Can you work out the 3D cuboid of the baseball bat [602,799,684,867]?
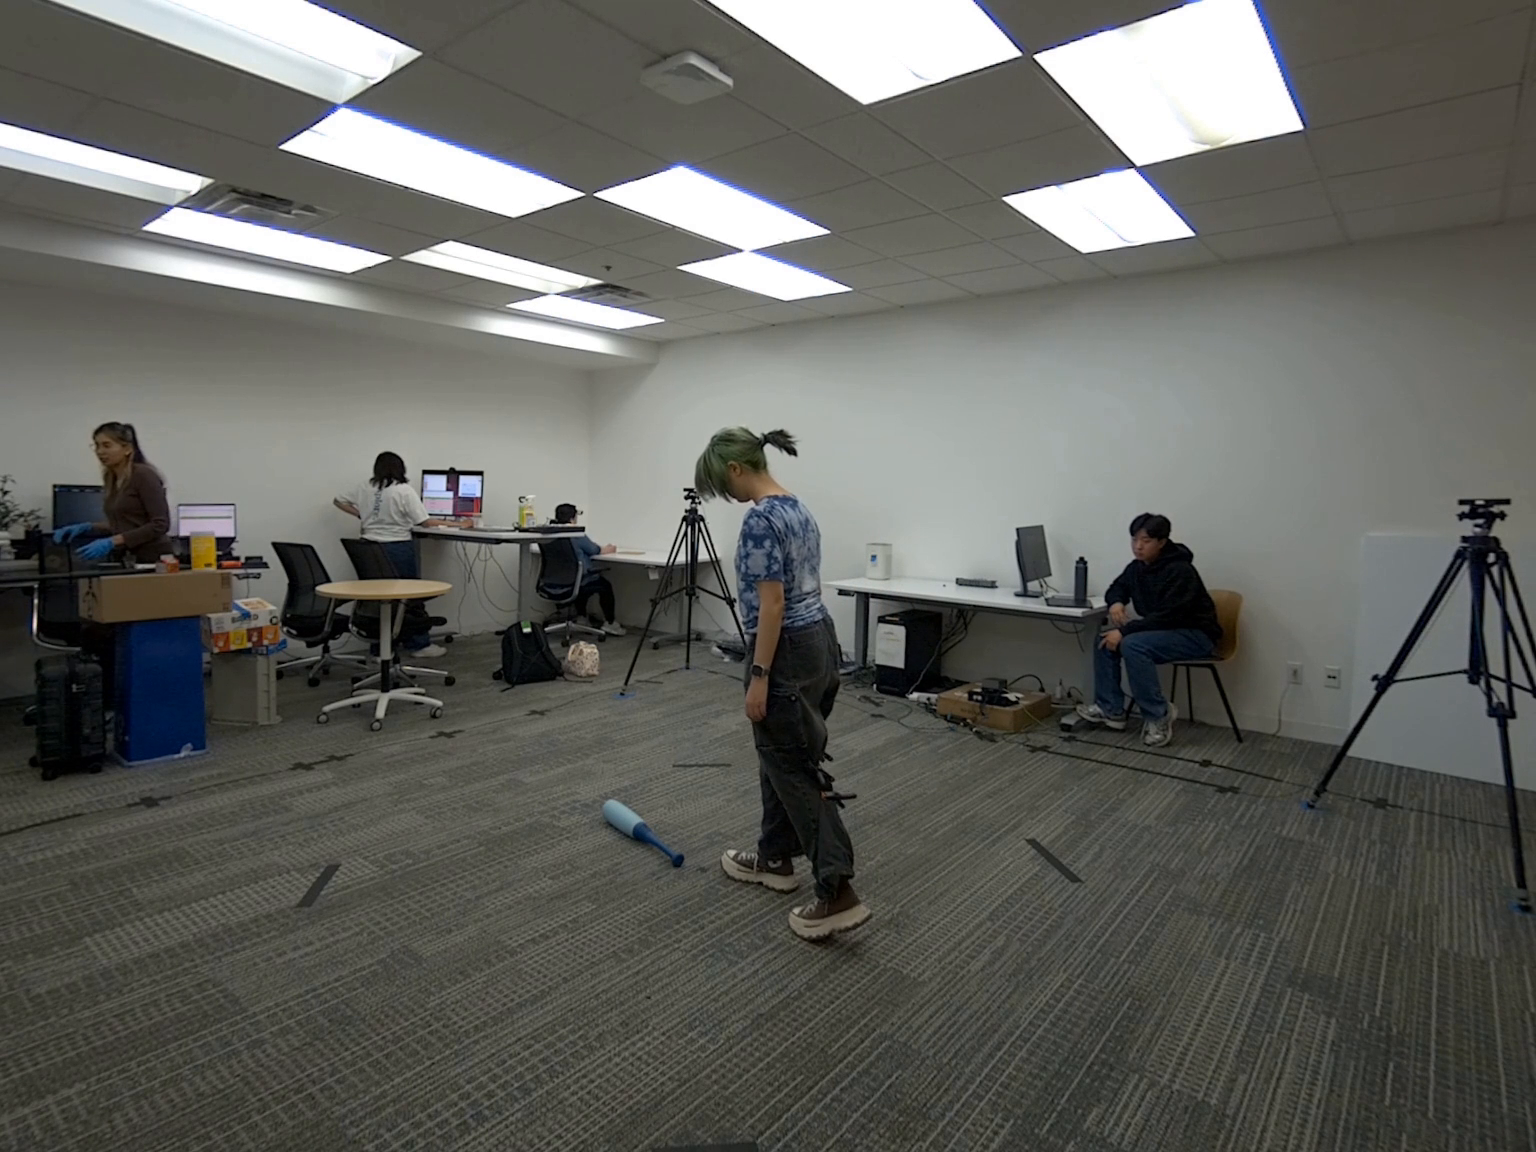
[{"bbox_3d":[-0.508,1.011,3.338,0.086,0.088,0.562,-2,9,-37],"label":"baseball bat"}]
